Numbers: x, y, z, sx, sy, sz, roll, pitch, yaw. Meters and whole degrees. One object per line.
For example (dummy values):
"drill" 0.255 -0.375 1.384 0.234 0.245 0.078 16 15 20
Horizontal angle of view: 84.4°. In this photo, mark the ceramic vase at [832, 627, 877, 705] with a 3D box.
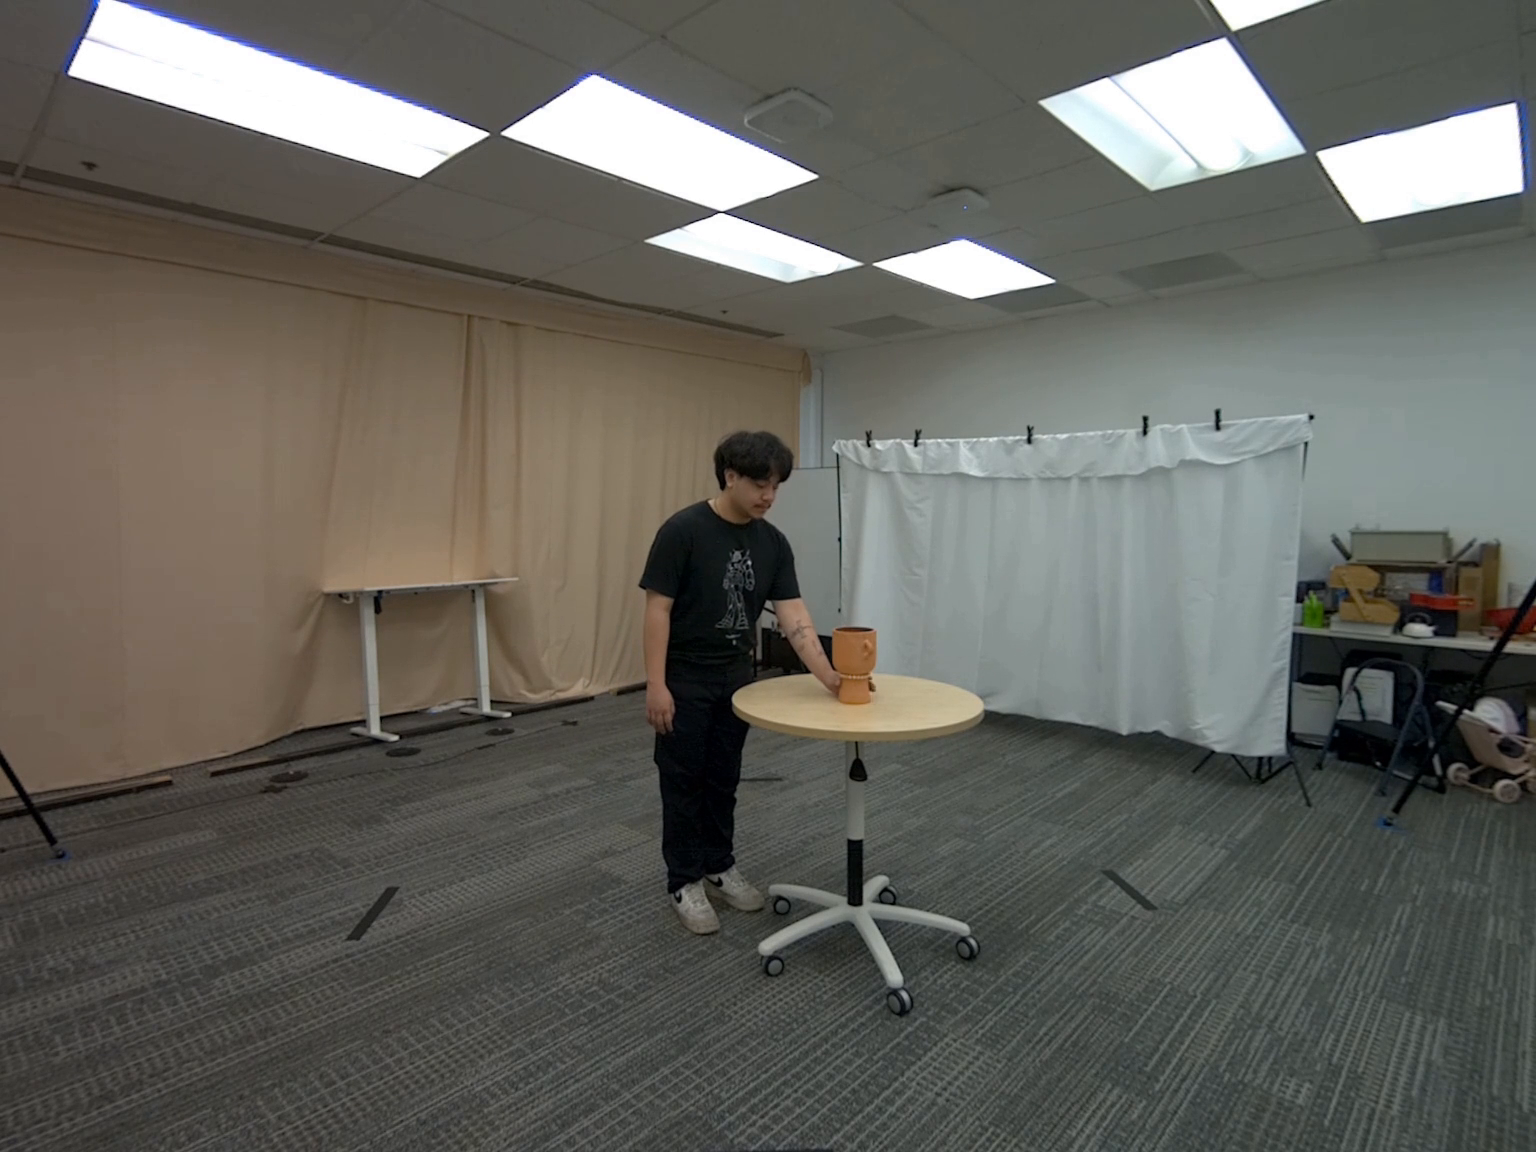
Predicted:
"ceramic vase" 0.283 0.278 2.562 0.137 0.219 0.156 2 4 17
